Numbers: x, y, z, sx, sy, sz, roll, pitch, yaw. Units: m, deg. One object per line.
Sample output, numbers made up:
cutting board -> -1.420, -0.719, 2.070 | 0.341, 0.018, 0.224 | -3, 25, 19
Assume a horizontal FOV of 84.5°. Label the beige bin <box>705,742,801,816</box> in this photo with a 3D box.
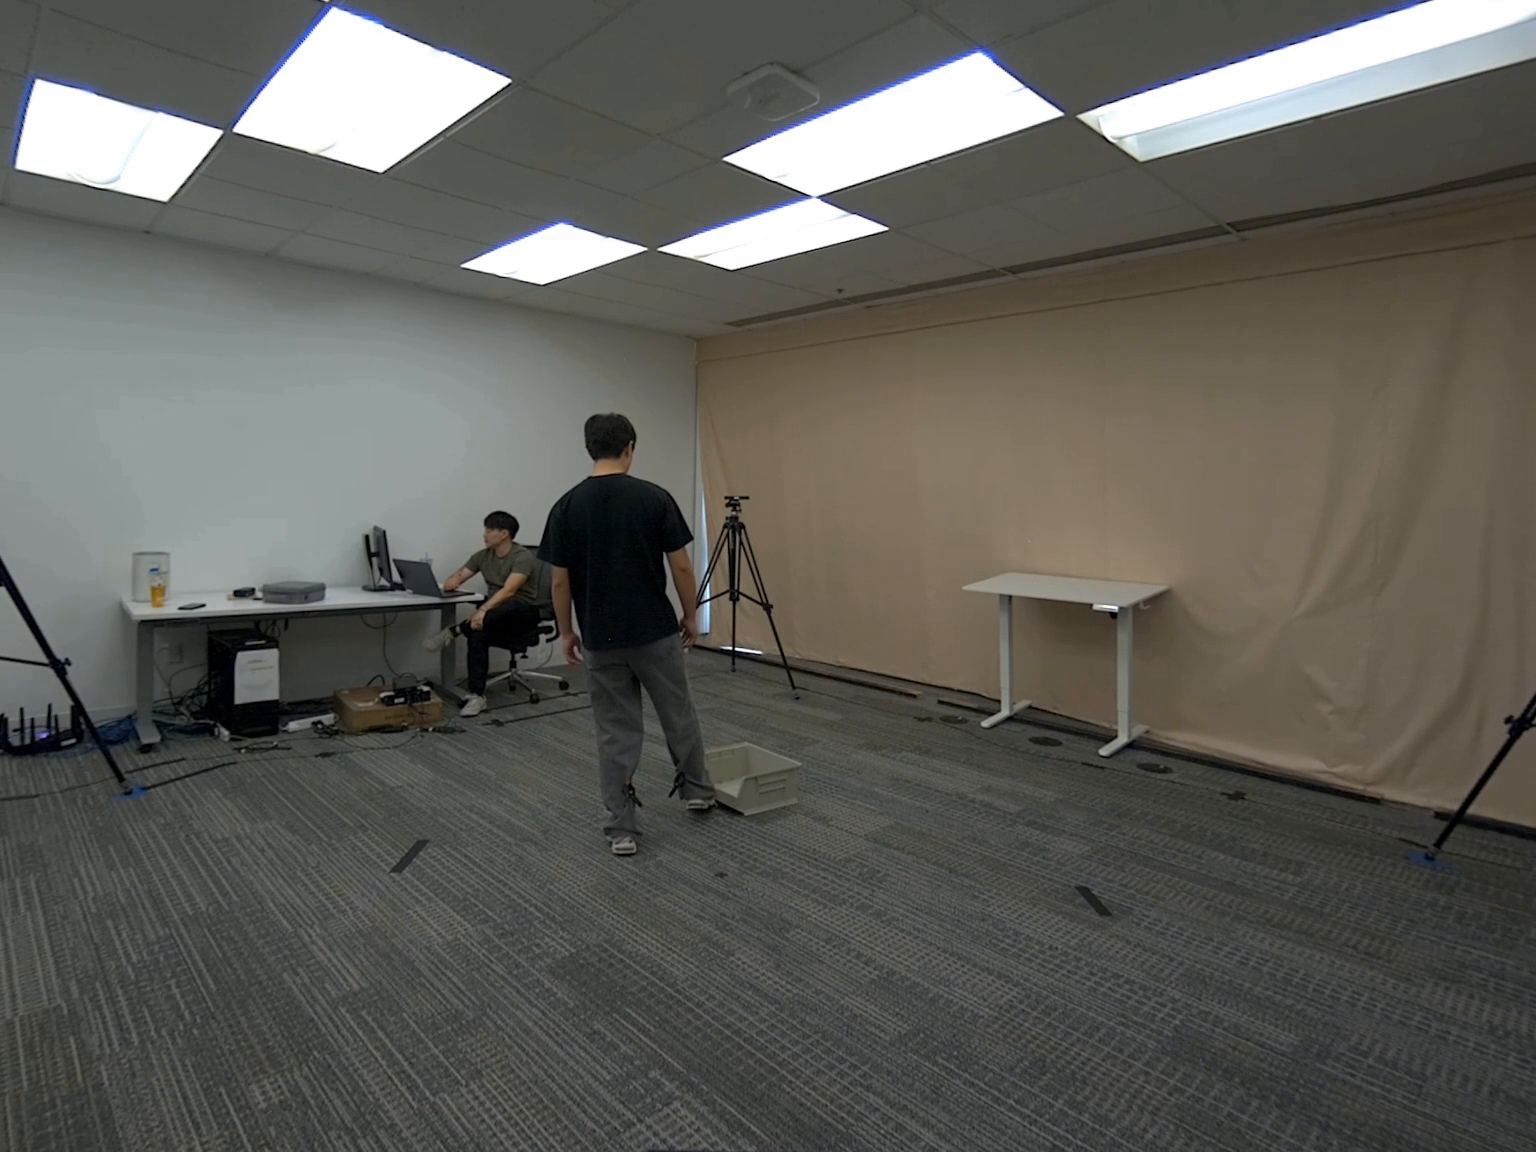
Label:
beige bin -> -0.130, 0.945, 3.935 | 0.369, 0.188, 0.433 | -1, 5, -38
